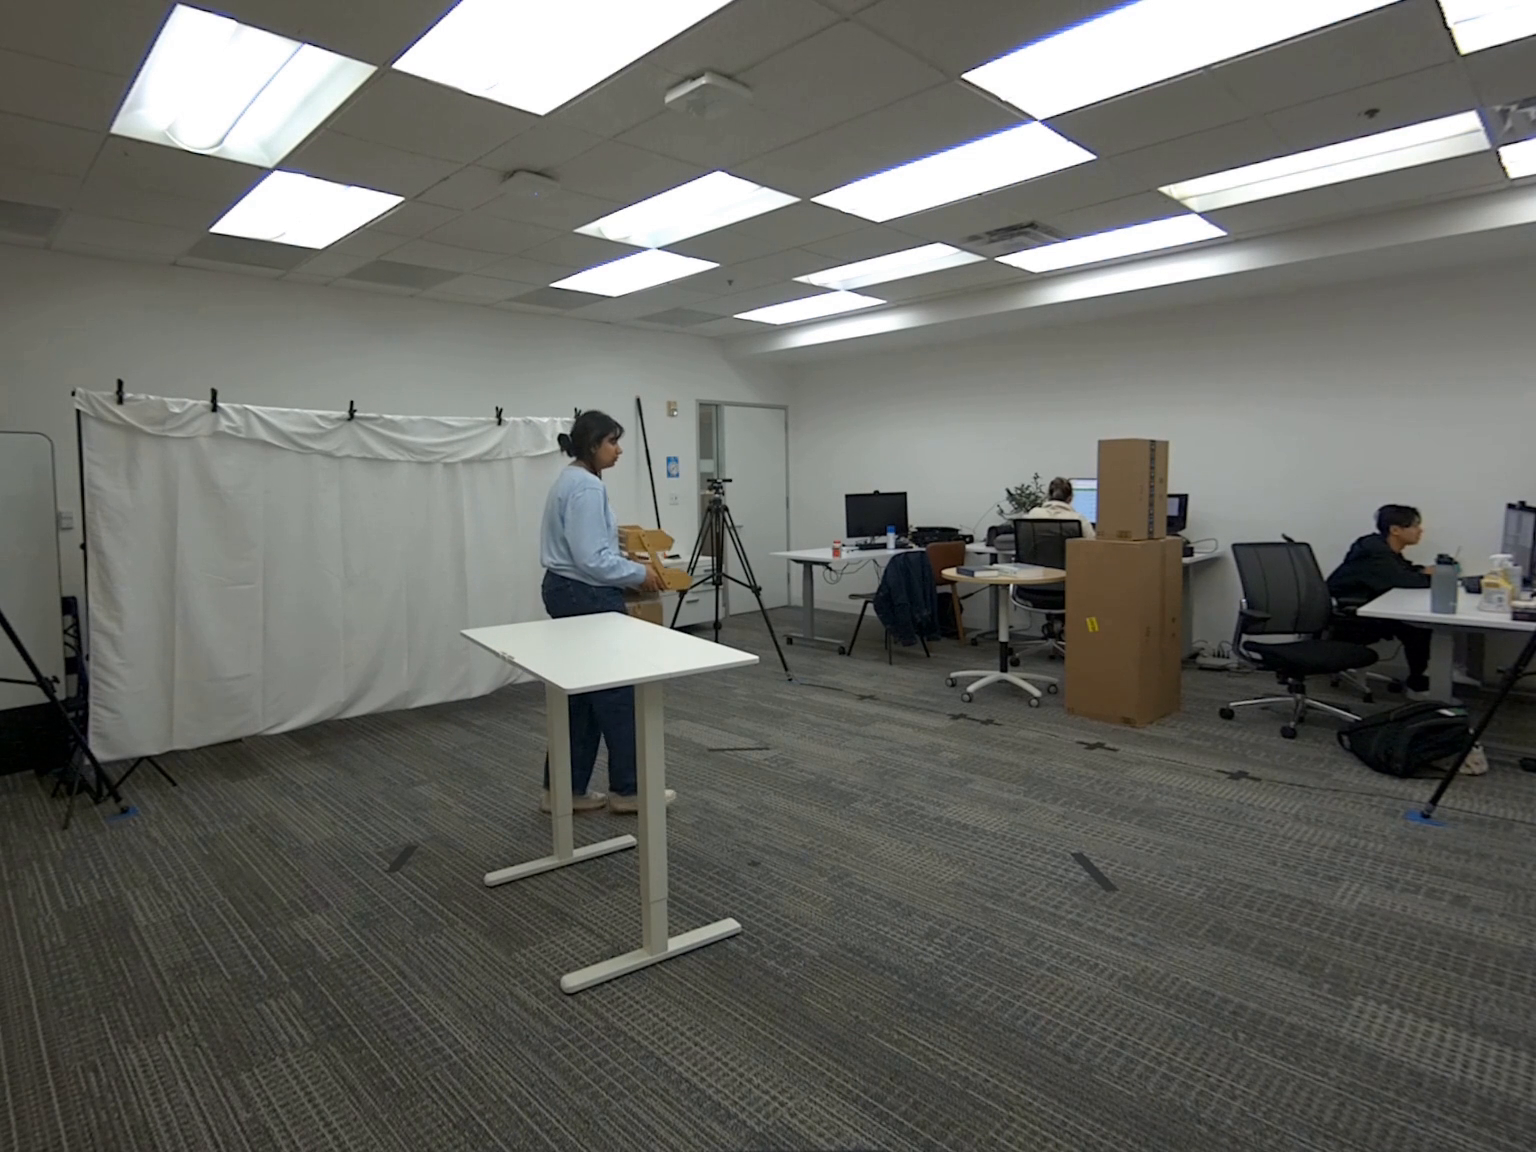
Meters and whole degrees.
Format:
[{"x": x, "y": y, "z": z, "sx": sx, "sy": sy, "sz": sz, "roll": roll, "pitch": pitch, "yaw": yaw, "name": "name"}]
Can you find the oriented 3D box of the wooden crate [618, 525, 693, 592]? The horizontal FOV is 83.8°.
[{"x": -0.509, "y": -0.088, "z": 3.763, "sx": 0.296, "sy": 0.272, "sz": 0.333, "roll": -4, "pitch": 7, "yaw": -24, "name": "wooden crate"}]
